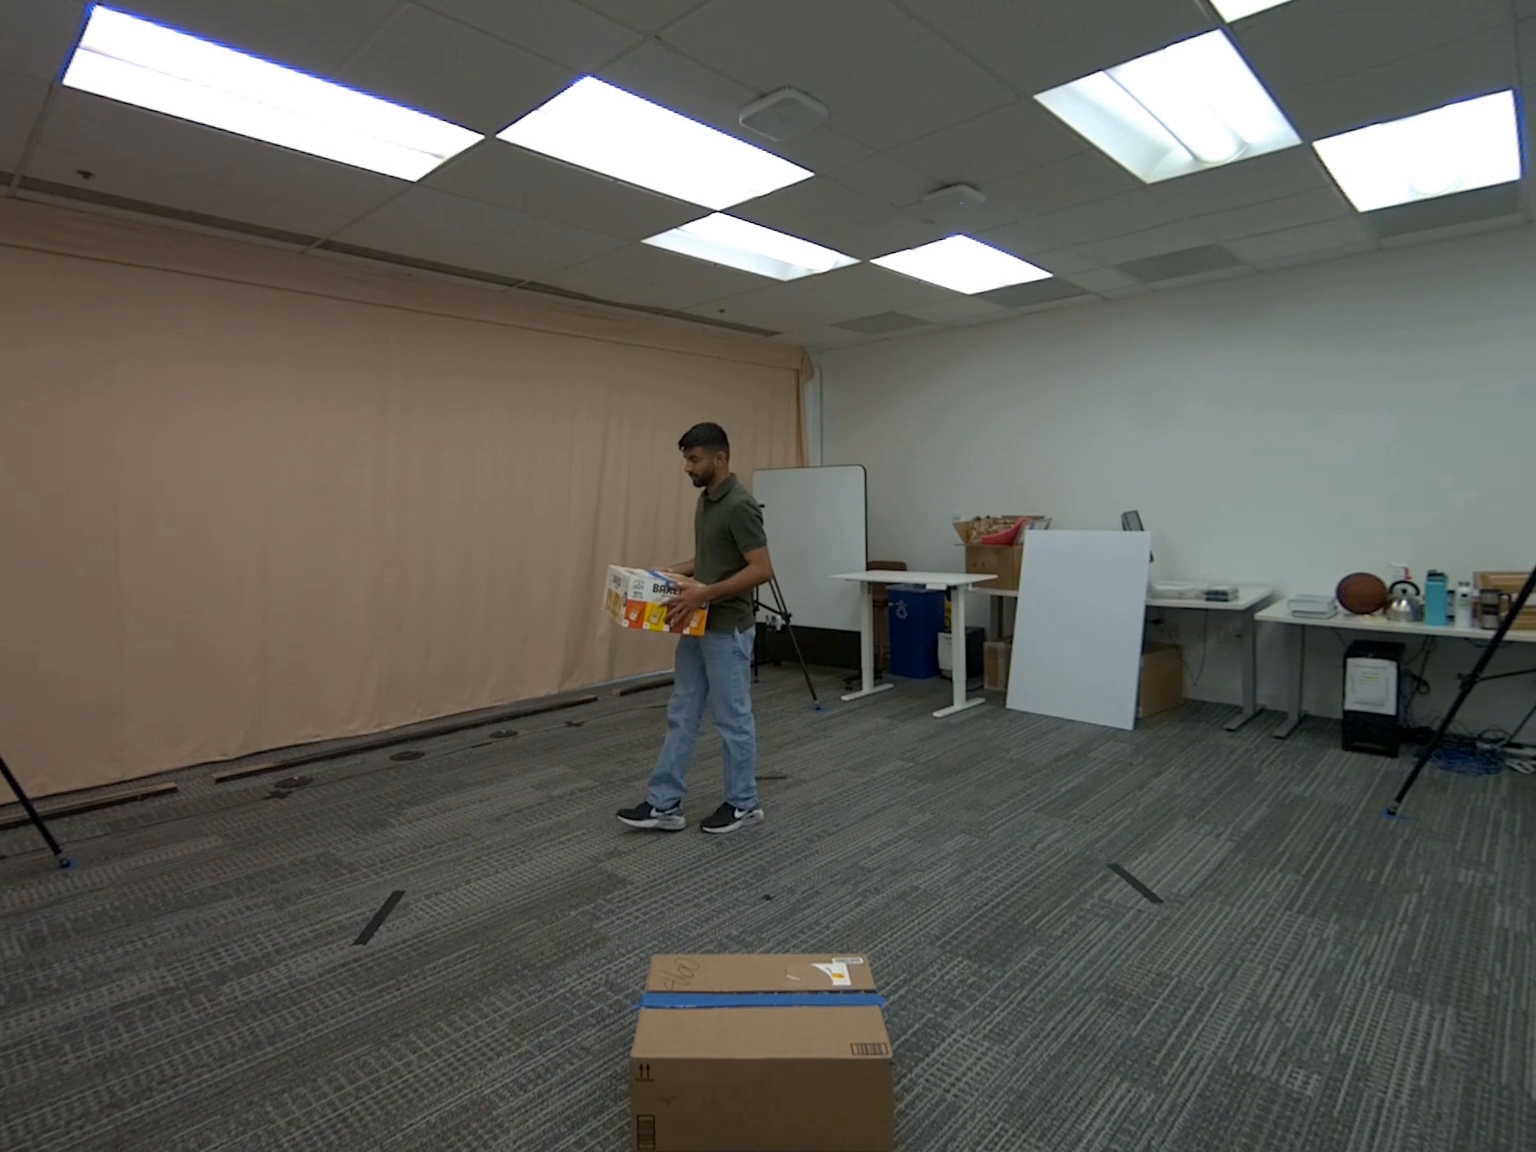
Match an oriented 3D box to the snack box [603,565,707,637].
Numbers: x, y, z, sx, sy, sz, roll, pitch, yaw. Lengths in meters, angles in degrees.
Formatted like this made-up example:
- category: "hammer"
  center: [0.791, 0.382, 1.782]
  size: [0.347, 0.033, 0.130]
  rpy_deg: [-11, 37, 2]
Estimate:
- category: "snack box"
  center: [-0.476, 0.100, 3.510]
  size: [0.333, 0.205, 0.415]
  rpy_deg: [9, 2, -22]
